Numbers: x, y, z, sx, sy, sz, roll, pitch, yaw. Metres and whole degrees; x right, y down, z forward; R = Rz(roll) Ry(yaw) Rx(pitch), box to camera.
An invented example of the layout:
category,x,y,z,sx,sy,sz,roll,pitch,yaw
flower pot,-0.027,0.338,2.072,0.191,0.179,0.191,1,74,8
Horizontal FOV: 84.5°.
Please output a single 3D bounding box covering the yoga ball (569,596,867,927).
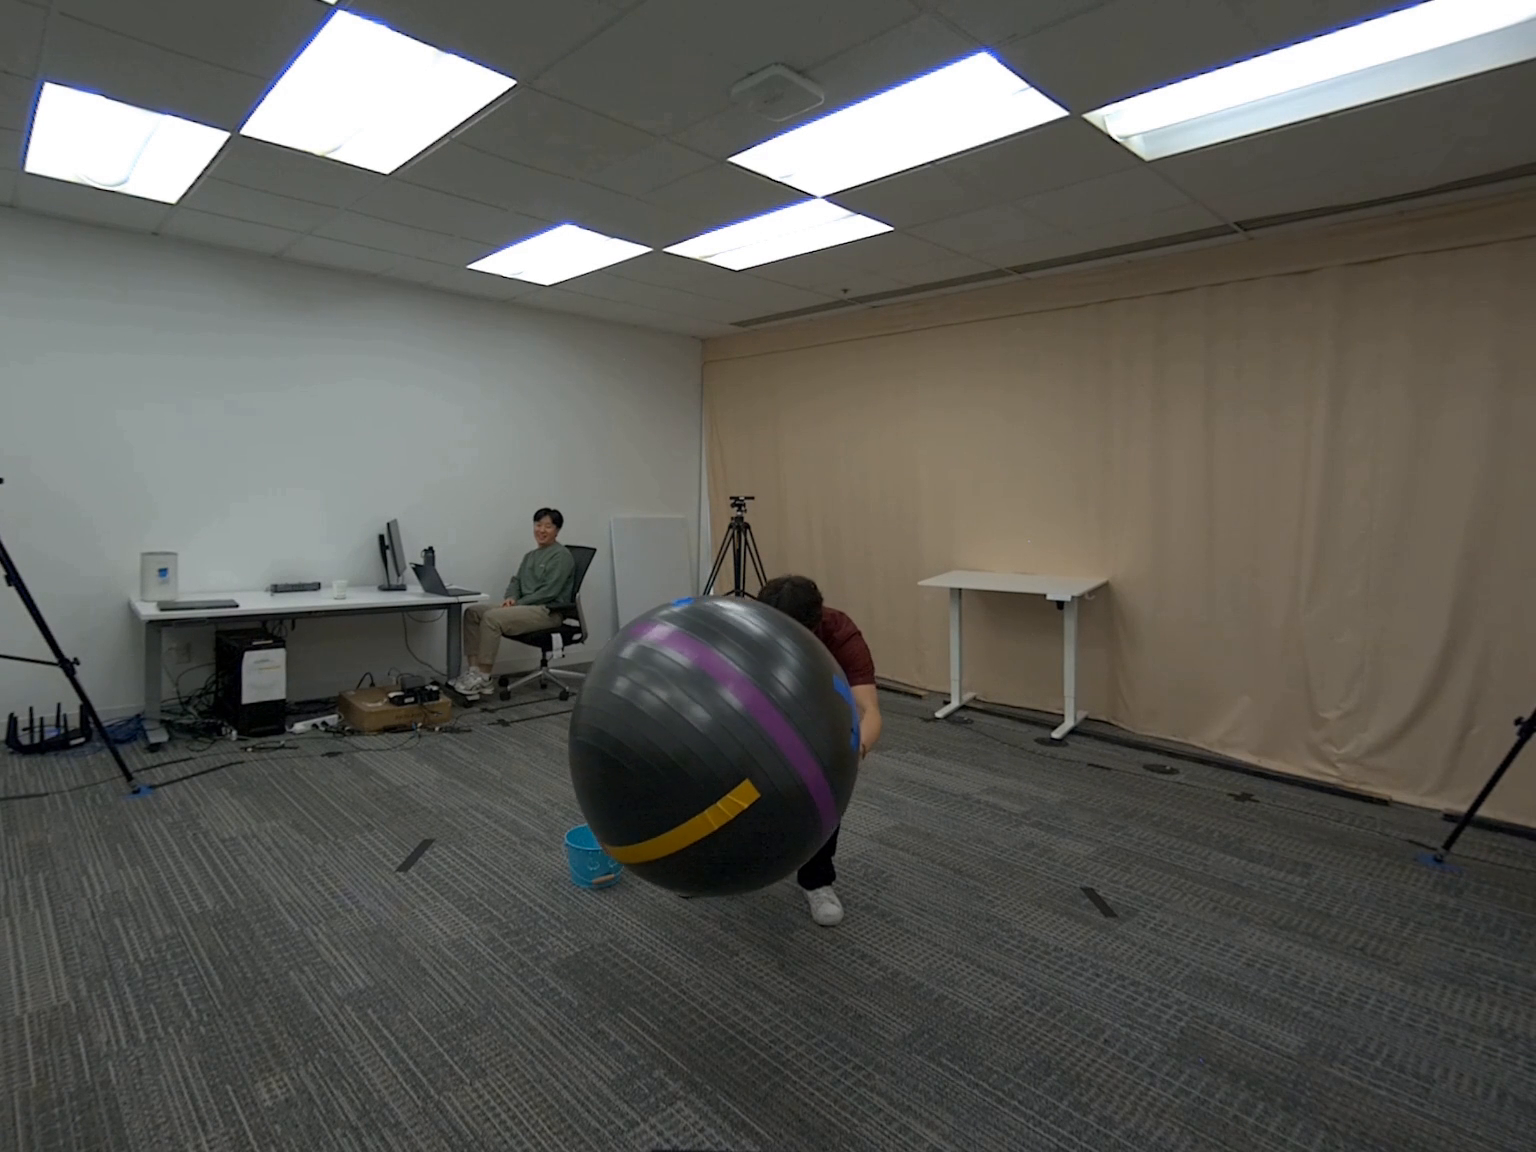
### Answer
category,x,y,z,sx,sy,sz,roll,pitch,yaw
yoga ball,-0.144,0.439,2.190,0.757,0.756,0.761,1,4,-1
